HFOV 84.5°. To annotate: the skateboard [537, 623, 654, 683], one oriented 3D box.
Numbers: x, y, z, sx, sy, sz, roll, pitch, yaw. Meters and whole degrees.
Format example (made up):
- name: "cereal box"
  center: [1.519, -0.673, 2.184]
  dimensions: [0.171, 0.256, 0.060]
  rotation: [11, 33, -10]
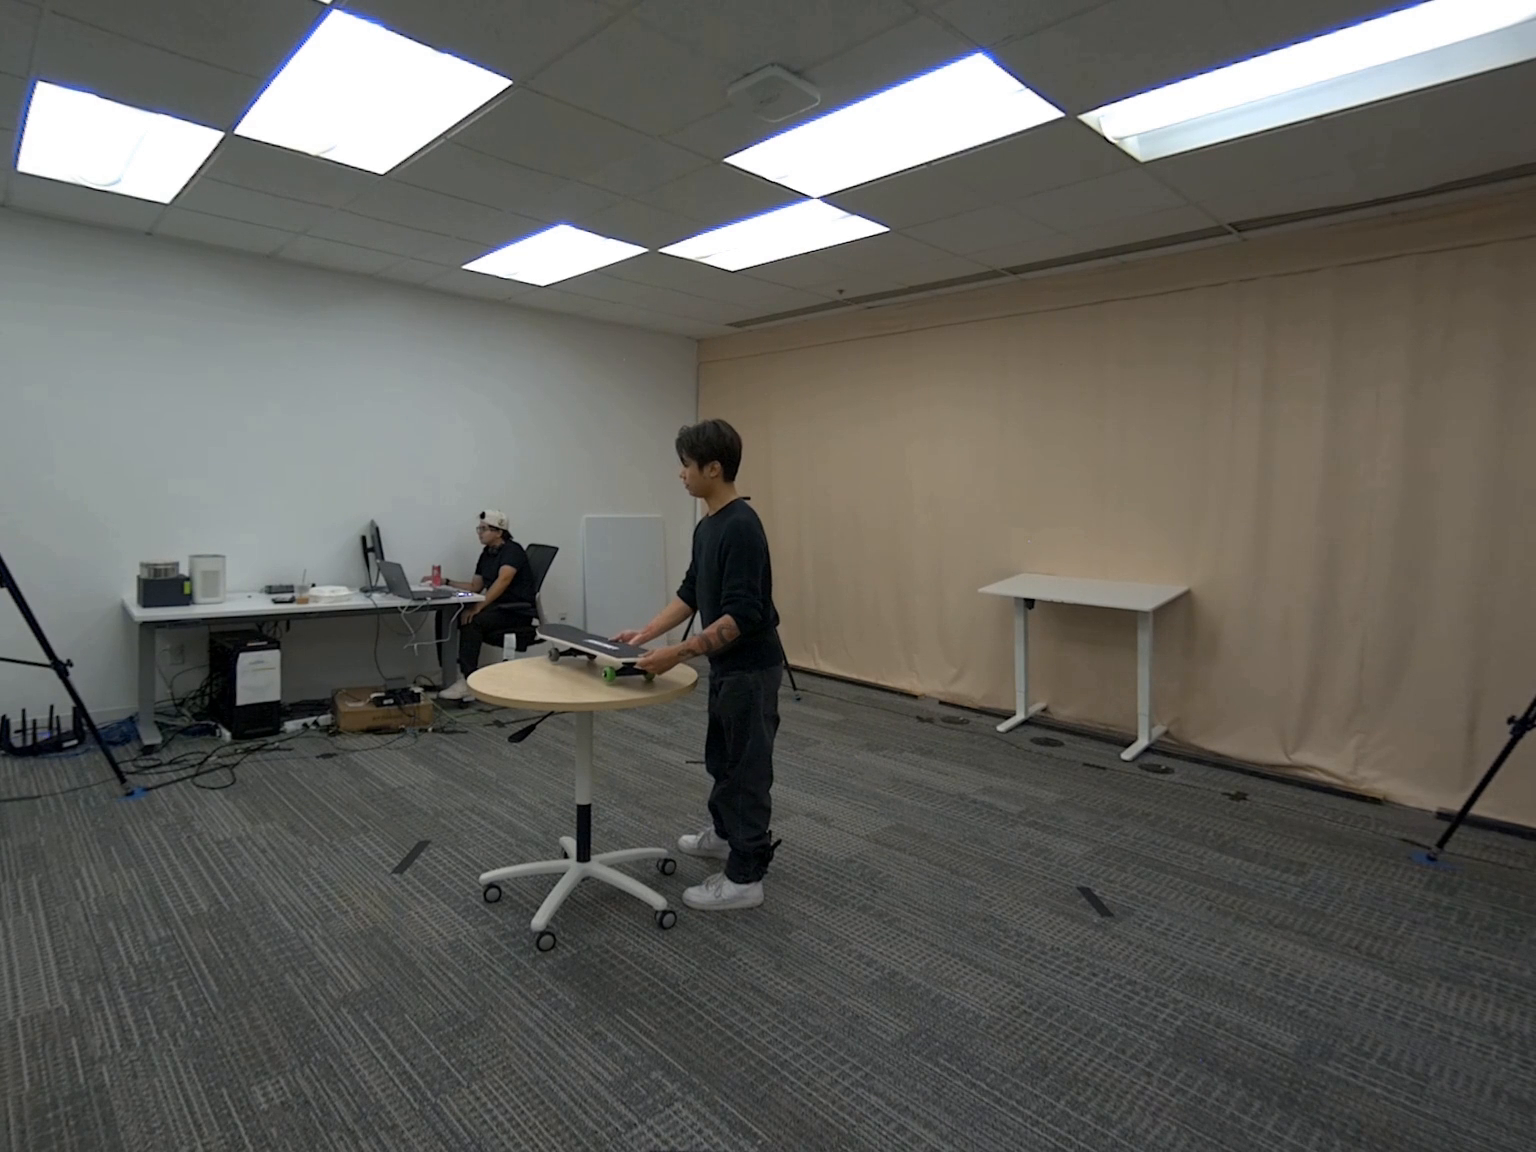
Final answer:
- name: "skateboard"
  center: [-0.575, 0.276, 2.900]
  dimensions: [0.189, 0.110, 0.806]
  rotation: [2, 4, -40]
